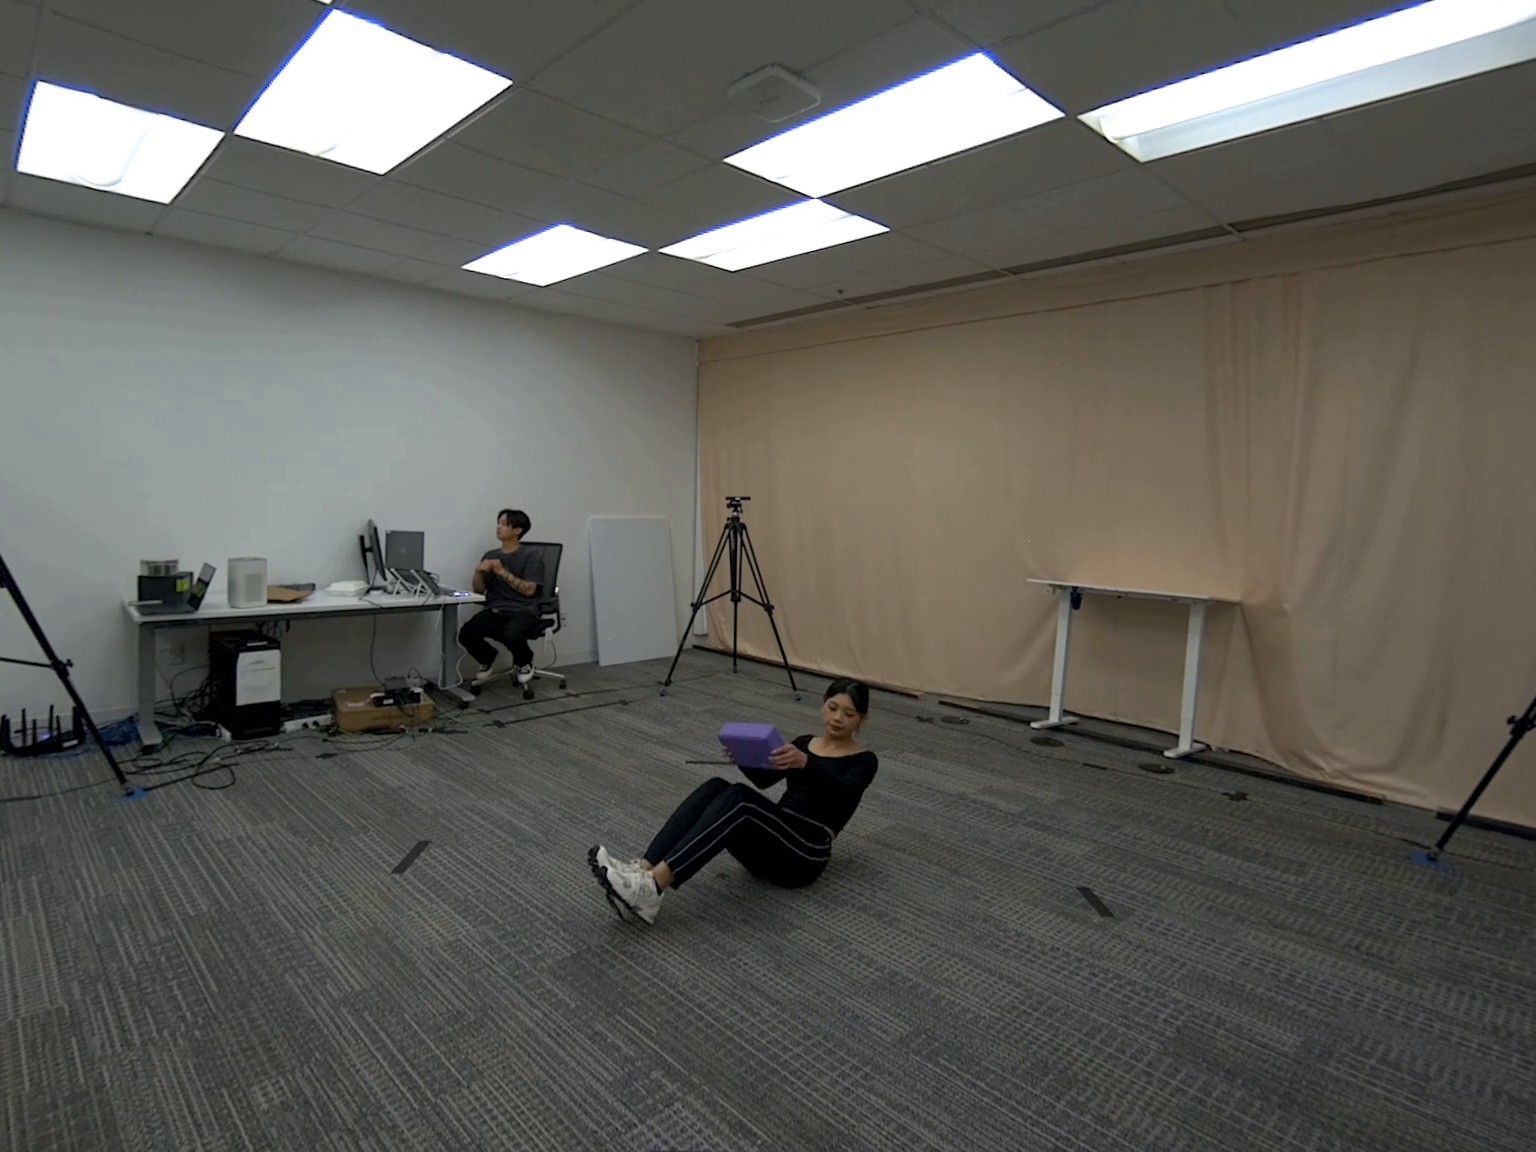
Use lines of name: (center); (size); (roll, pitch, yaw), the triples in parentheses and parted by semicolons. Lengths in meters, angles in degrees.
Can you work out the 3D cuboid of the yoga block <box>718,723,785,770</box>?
yoga block: (-0.052, 0.593, 2.900); (0.234, 0.146, 0.076); (-7, 25, 41)
